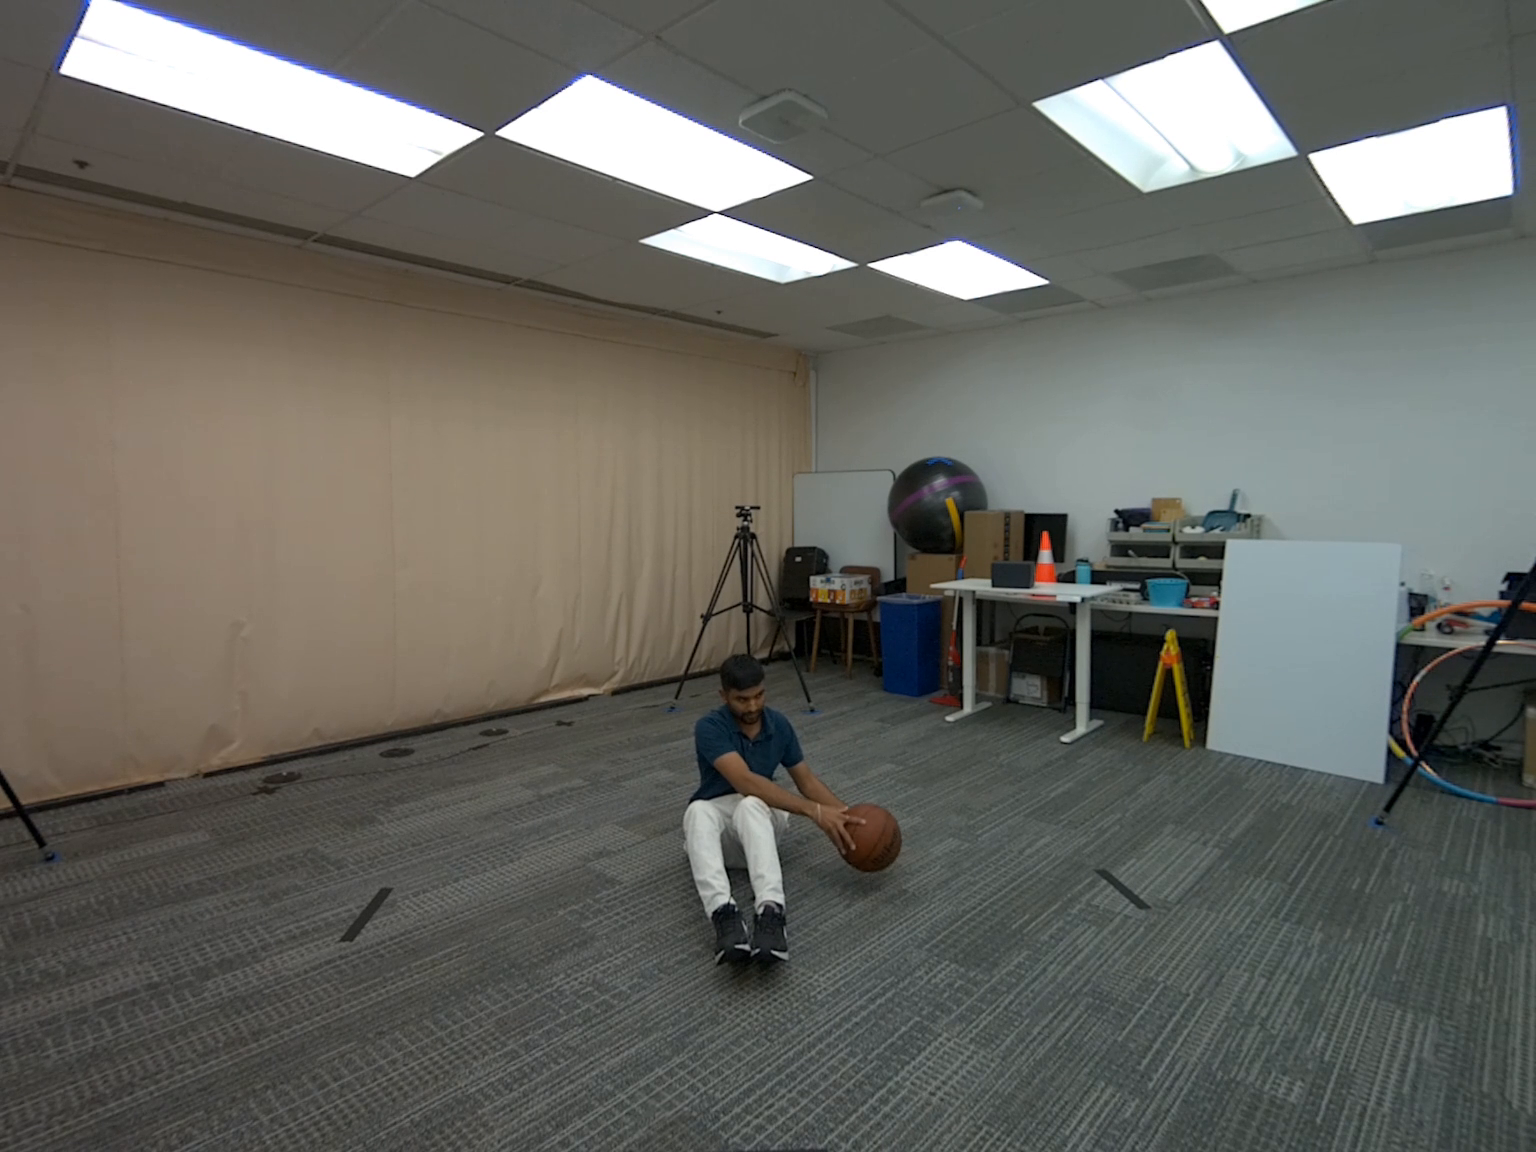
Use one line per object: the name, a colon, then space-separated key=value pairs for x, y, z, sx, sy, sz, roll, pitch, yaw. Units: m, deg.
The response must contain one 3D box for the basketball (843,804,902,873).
basketball: x=0.375 y=0.933 z=3.057 sx=0.236 sy=0.235 sz=0.237 roll=0 pitch=4 yaw=-2
